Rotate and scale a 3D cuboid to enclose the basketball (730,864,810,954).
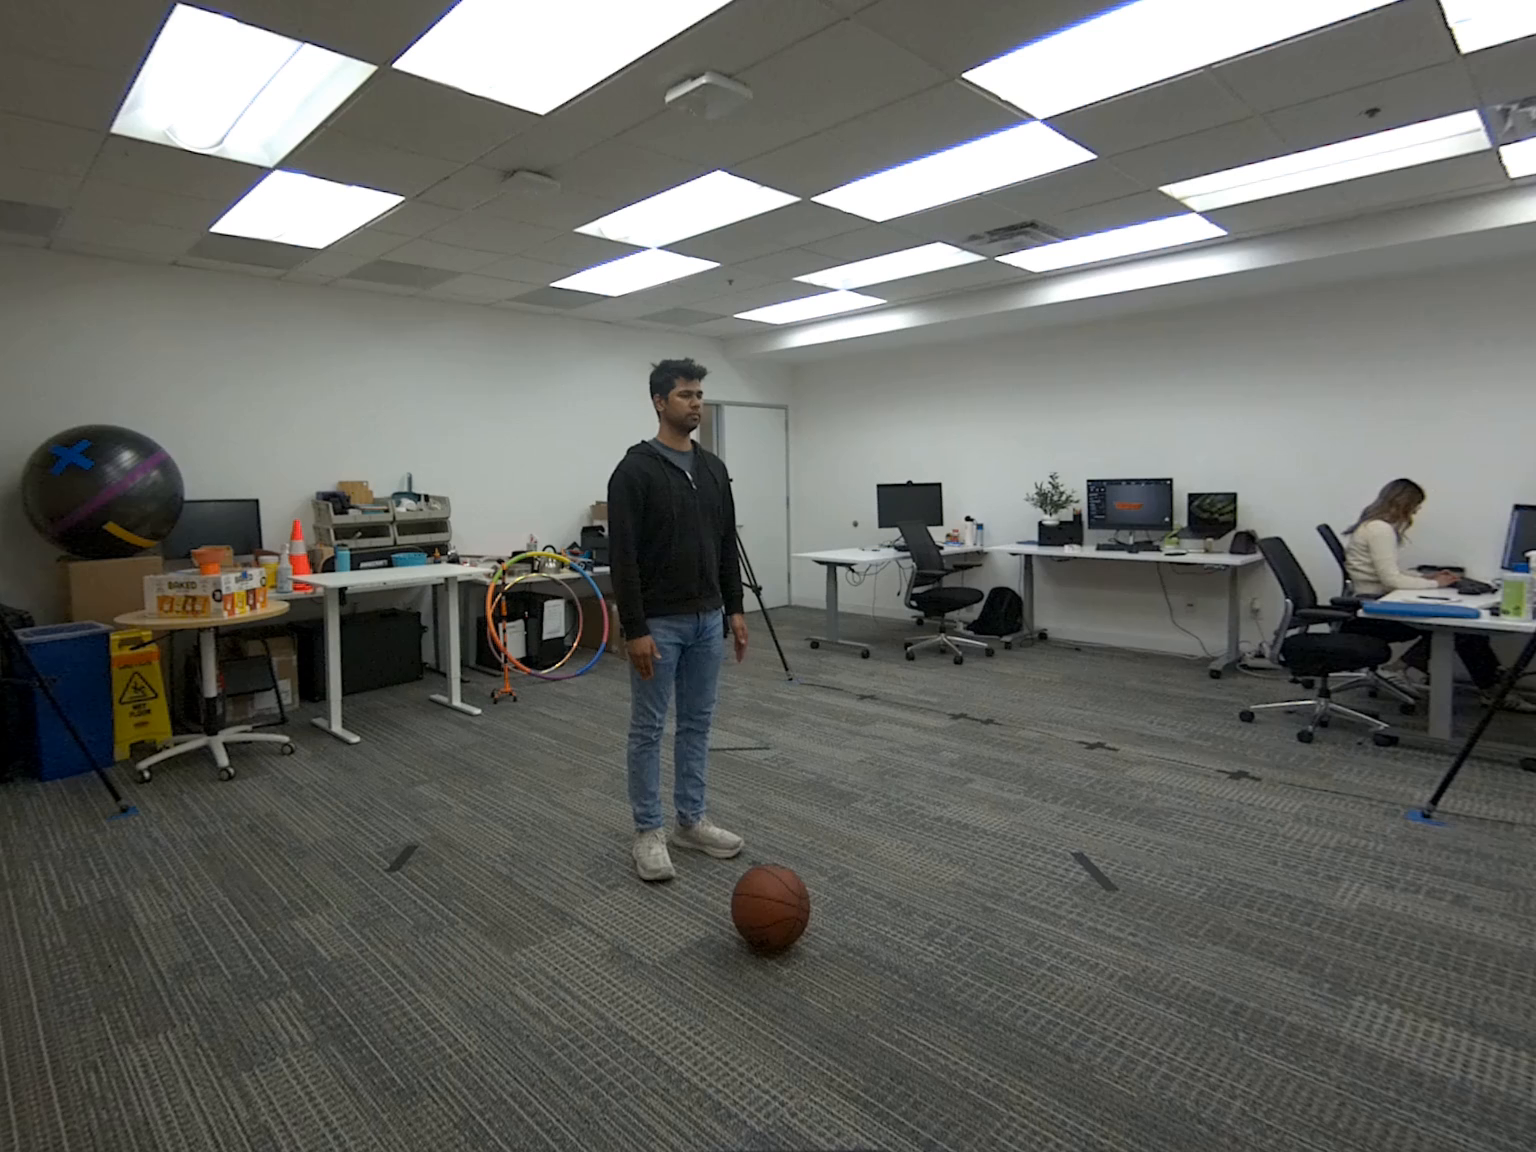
[{"bbox_3d":[0.013,0.986,2.558,0.236,0.235,0.237,-1,5,-2],"label":"basketball"}]
